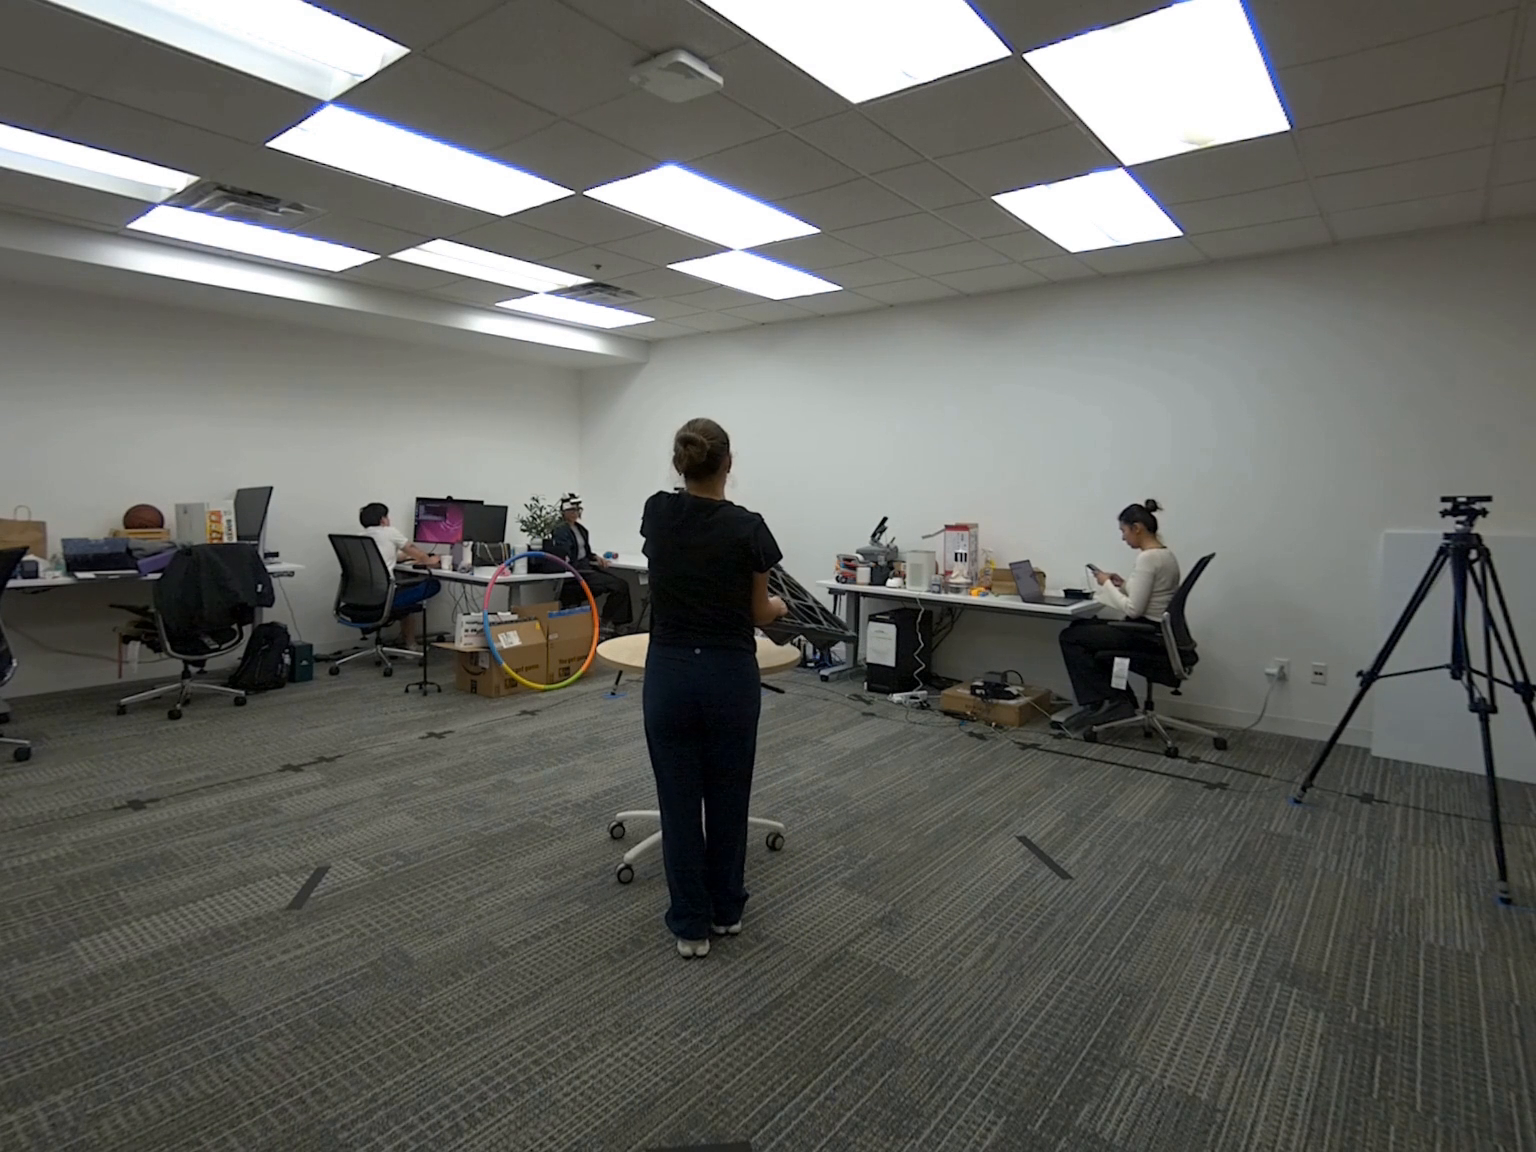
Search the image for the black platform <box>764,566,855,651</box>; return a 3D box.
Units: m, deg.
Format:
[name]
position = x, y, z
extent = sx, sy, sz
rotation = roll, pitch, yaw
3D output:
[black platform]
position = -0.036, 0.051, 3.143
extent = 0.629, 0.143, 0.777
rotation = 42, 12, 30
